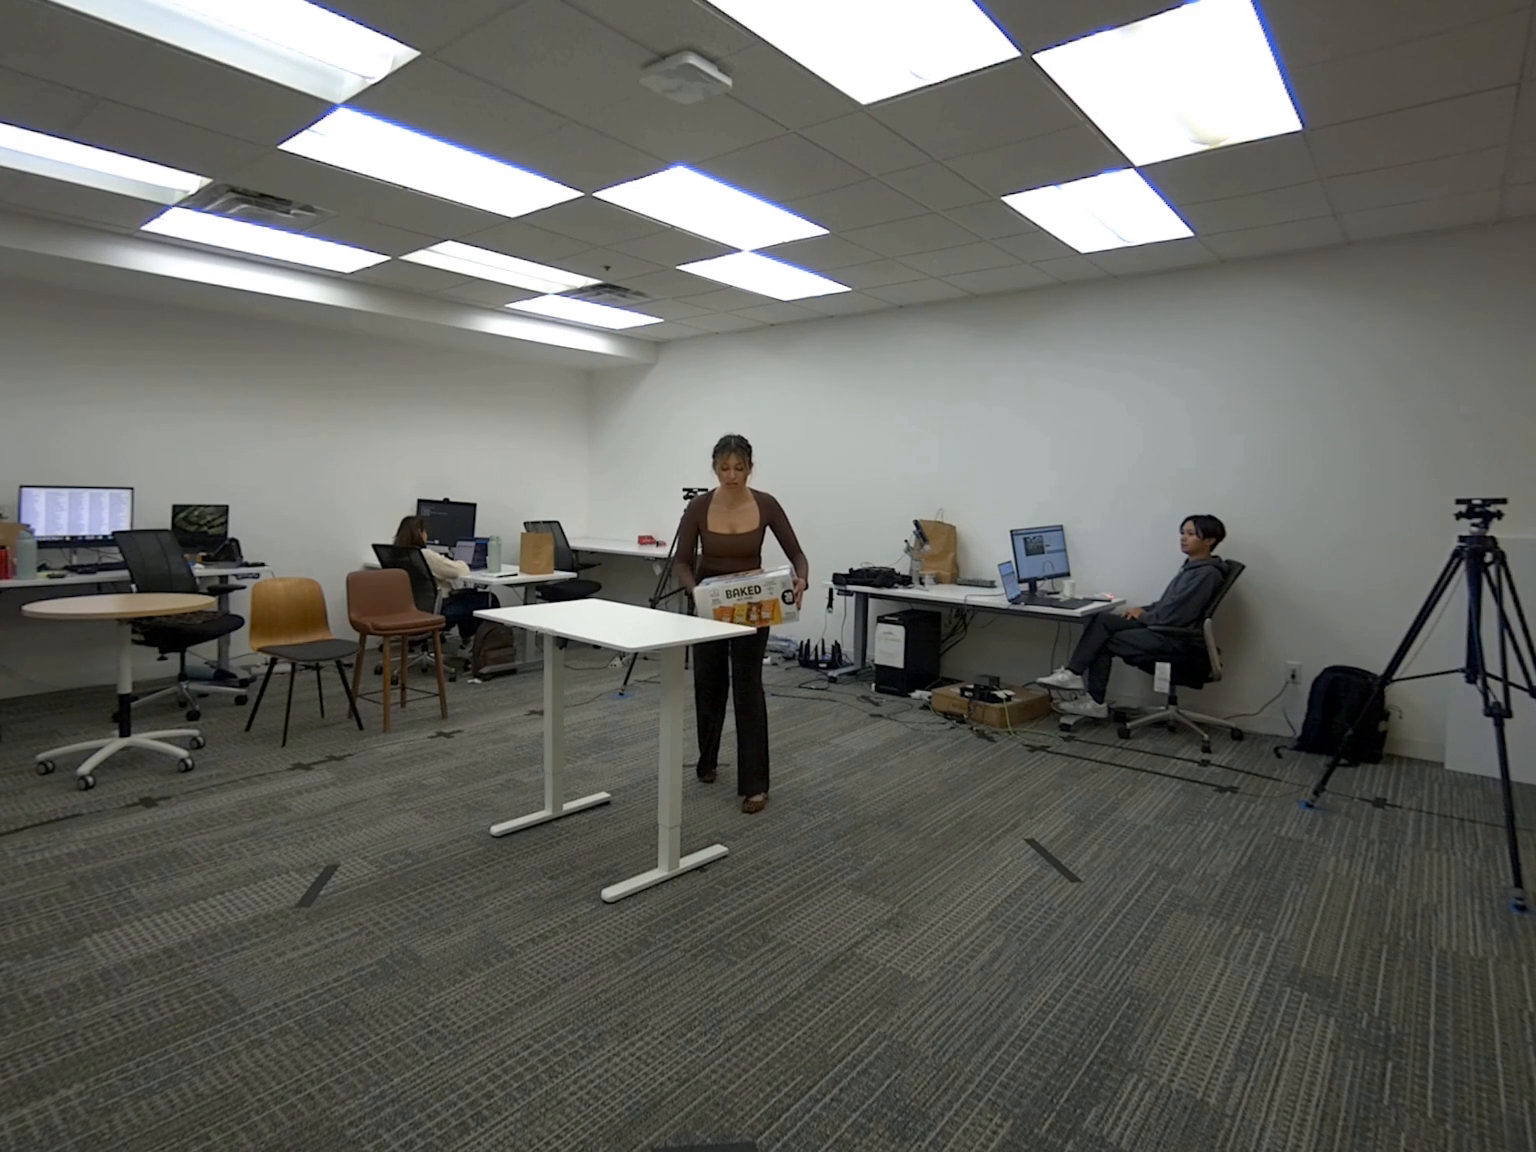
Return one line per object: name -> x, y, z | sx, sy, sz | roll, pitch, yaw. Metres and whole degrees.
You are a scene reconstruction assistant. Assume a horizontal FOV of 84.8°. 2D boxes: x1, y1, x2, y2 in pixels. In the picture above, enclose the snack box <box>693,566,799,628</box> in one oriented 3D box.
snack box -> -0.095, 0.099, 3.651 | 0.408, 0.205, 0.340 | -9, 5, 6
